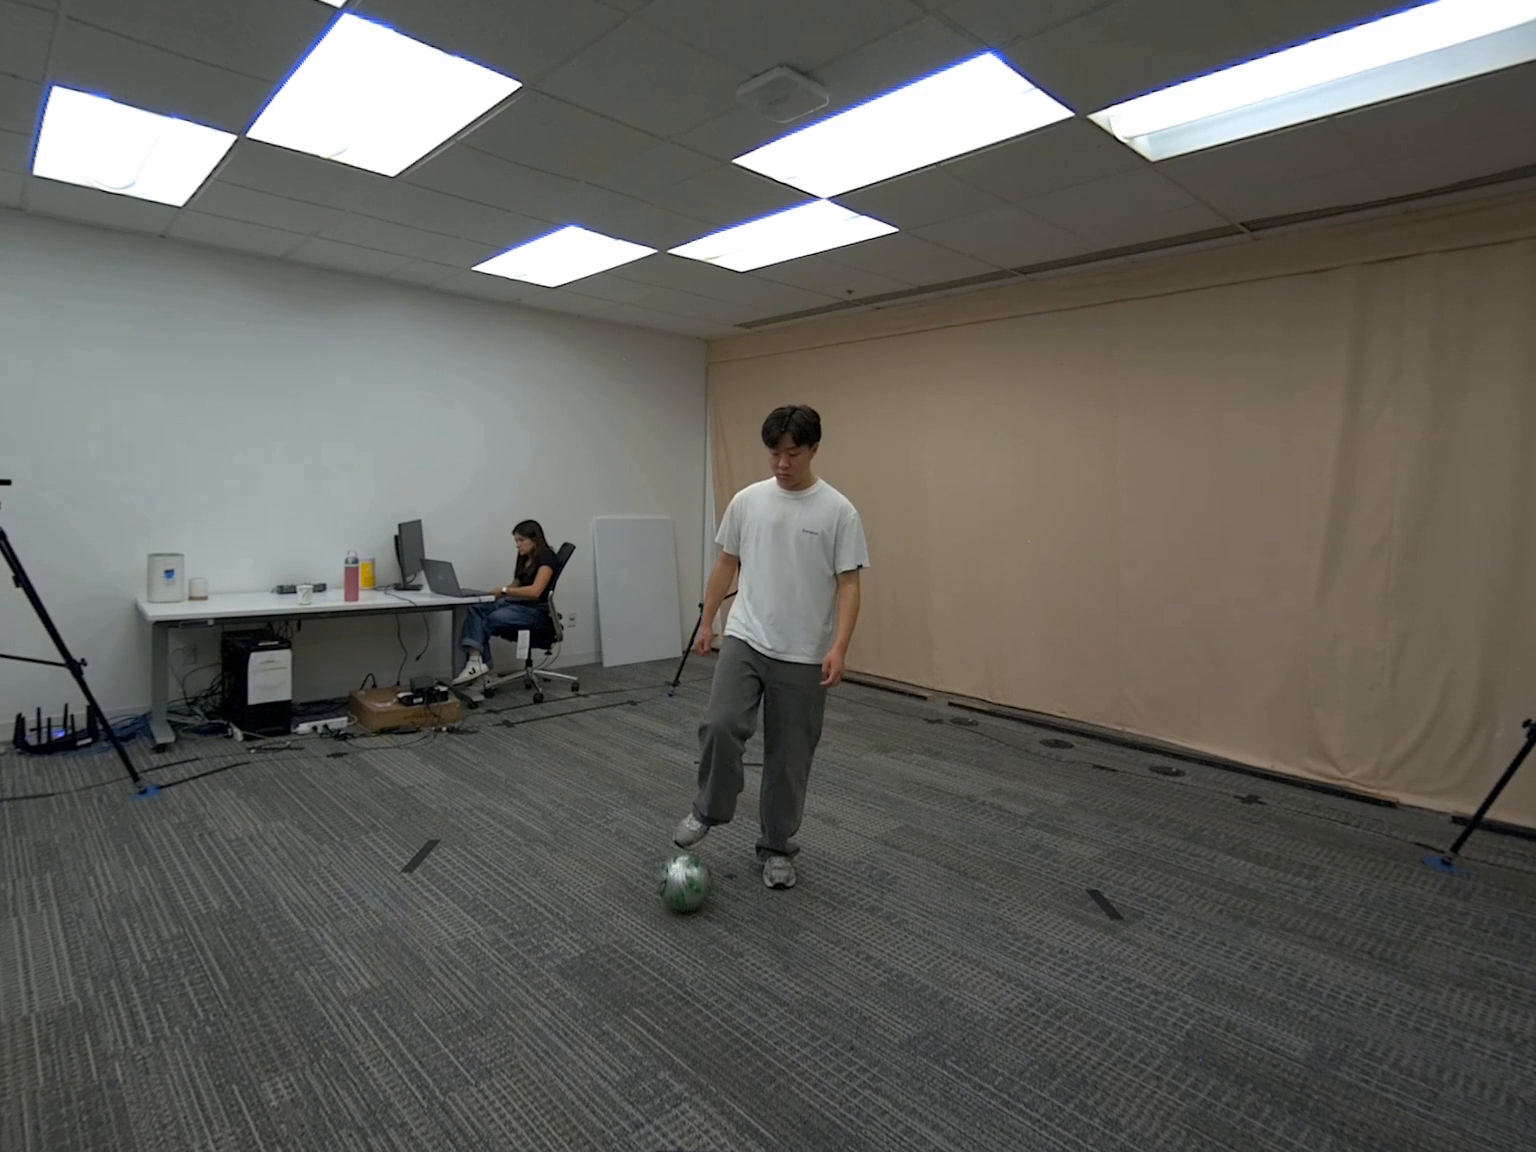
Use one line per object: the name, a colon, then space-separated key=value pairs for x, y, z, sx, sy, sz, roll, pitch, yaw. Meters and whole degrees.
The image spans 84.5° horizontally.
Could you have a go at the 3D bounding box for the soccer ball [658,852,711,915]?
soccer ball: x=-0.288 y=1.043 z=2.820 sx=0.187 sy=0.187 sz=0.188 roll=1 pitch=4 yaw=-1
